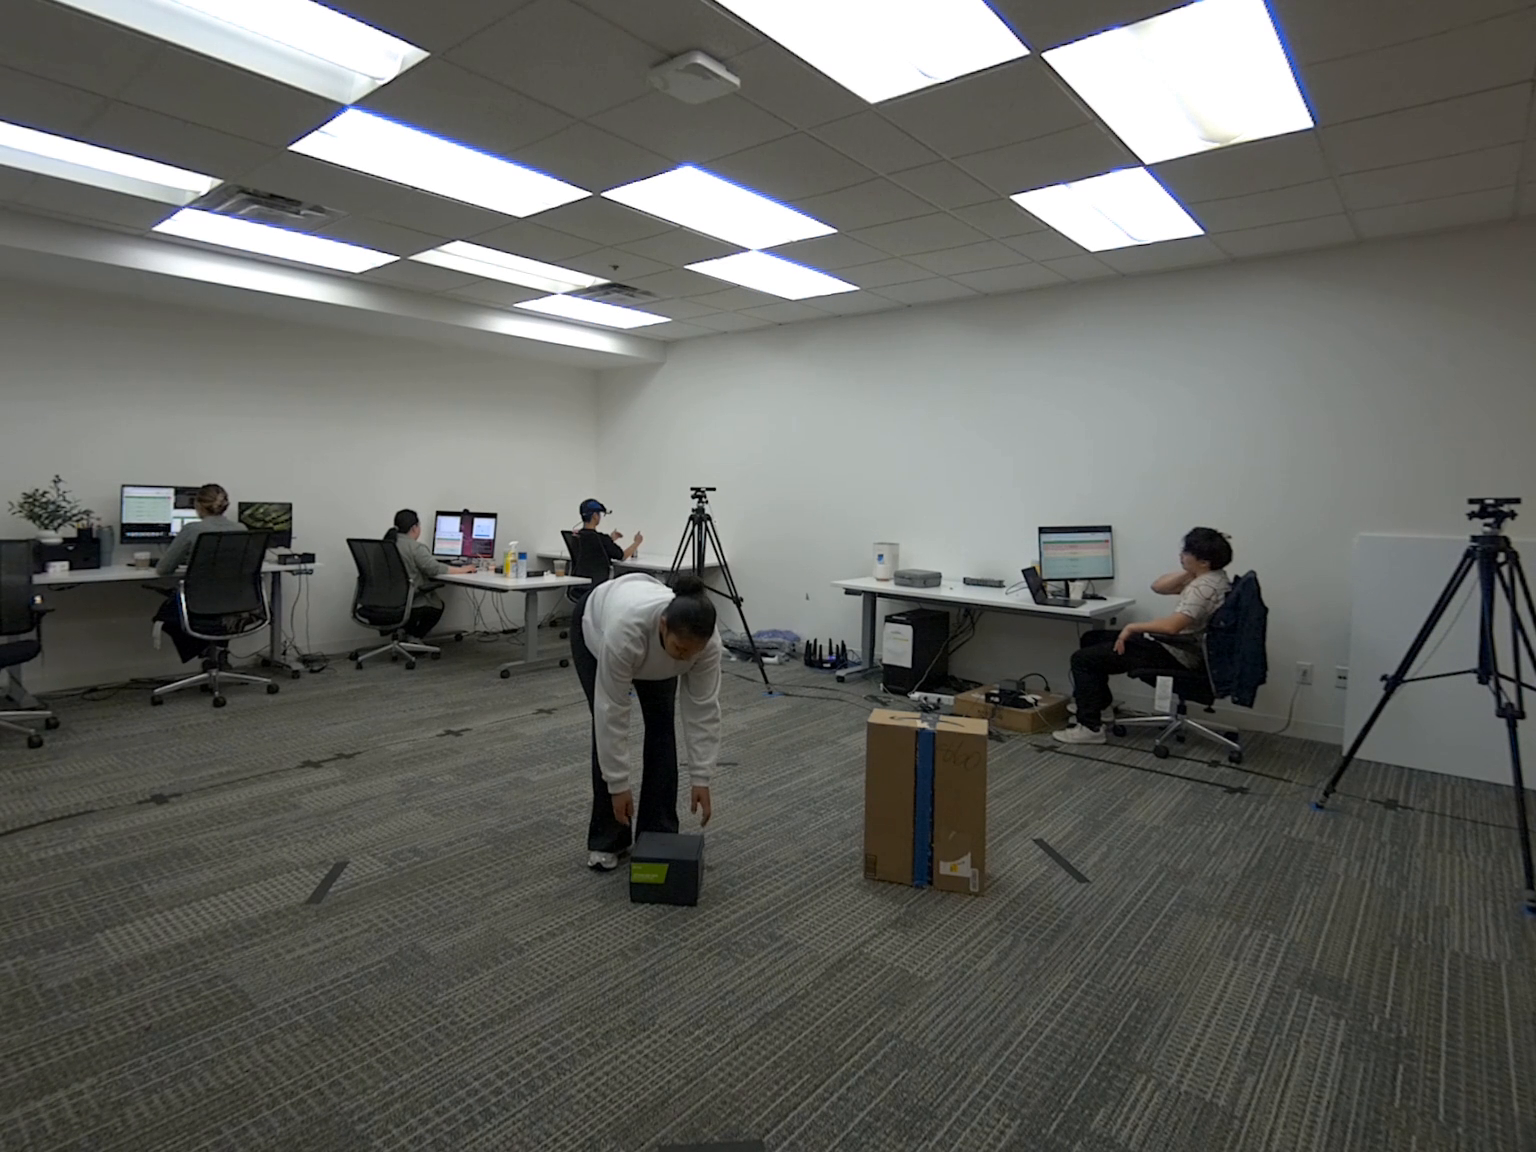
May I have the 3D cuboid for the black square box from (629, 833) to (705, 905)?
[{"bbox_3d":[-0.359,0.989,2.937,0.229,0.156,0.216,0,2,4],"label":"black square box"}]
